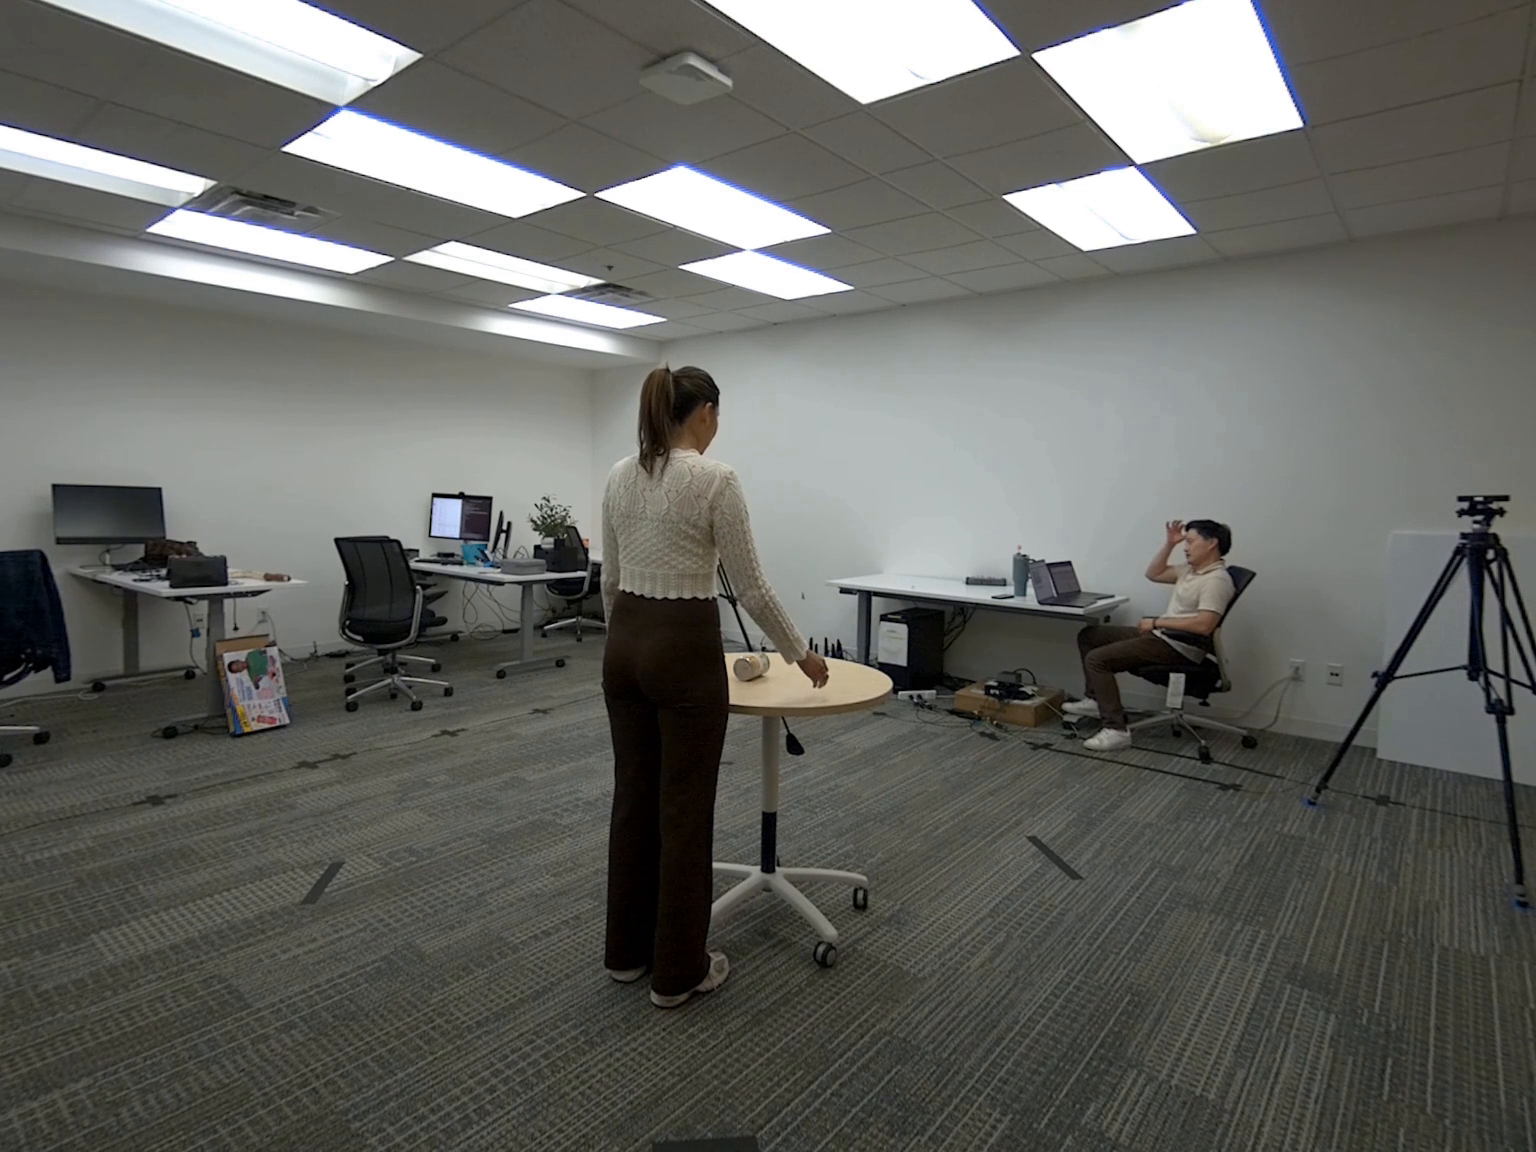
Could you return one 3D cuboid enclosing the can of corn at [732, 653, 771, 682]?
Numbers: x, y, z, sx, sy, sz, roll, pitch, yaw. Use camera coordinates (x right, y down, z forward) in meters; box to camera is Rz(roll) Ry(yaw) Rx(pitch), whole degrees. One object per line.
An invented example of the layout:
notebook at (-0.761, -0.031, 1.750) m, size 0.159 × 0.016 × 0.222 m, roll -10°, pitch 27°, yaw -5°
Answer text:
can of corn at (-0.064, 0.286, 2.724) m, size 0.076 × 0.074 × 0.109 m, roll 2°, pitch 5°, yaw 22°
